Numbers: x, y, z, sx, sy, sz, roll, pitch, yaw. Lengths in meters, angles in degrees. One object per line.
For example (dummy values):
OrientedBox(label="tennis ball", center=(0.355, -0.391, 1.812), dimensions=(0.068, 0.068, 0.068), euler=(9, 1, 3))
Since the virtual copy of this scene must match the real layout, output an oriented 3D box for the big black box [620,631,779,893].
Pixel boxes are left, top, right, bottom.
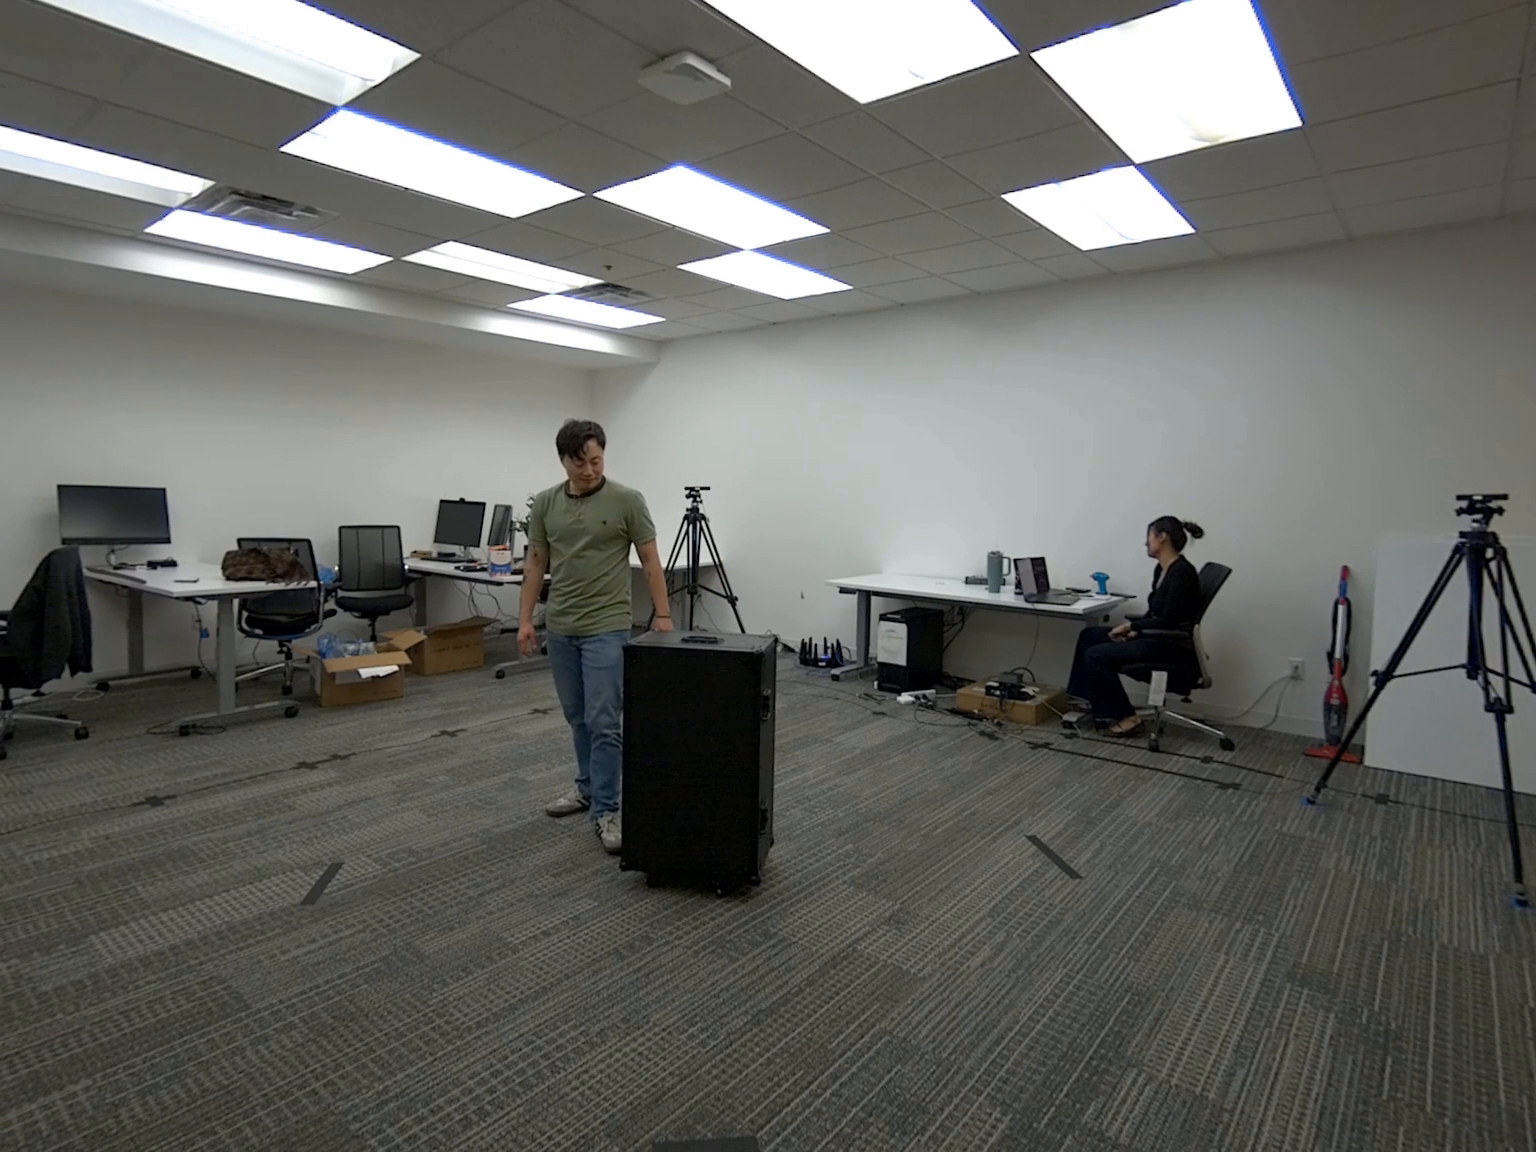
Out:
OrientedBox(label="big black box", center=(-0.247, 0.644, 3.032), dimensions=(0.528, 0.859, 0.392), euler=(2, 3, 11))
